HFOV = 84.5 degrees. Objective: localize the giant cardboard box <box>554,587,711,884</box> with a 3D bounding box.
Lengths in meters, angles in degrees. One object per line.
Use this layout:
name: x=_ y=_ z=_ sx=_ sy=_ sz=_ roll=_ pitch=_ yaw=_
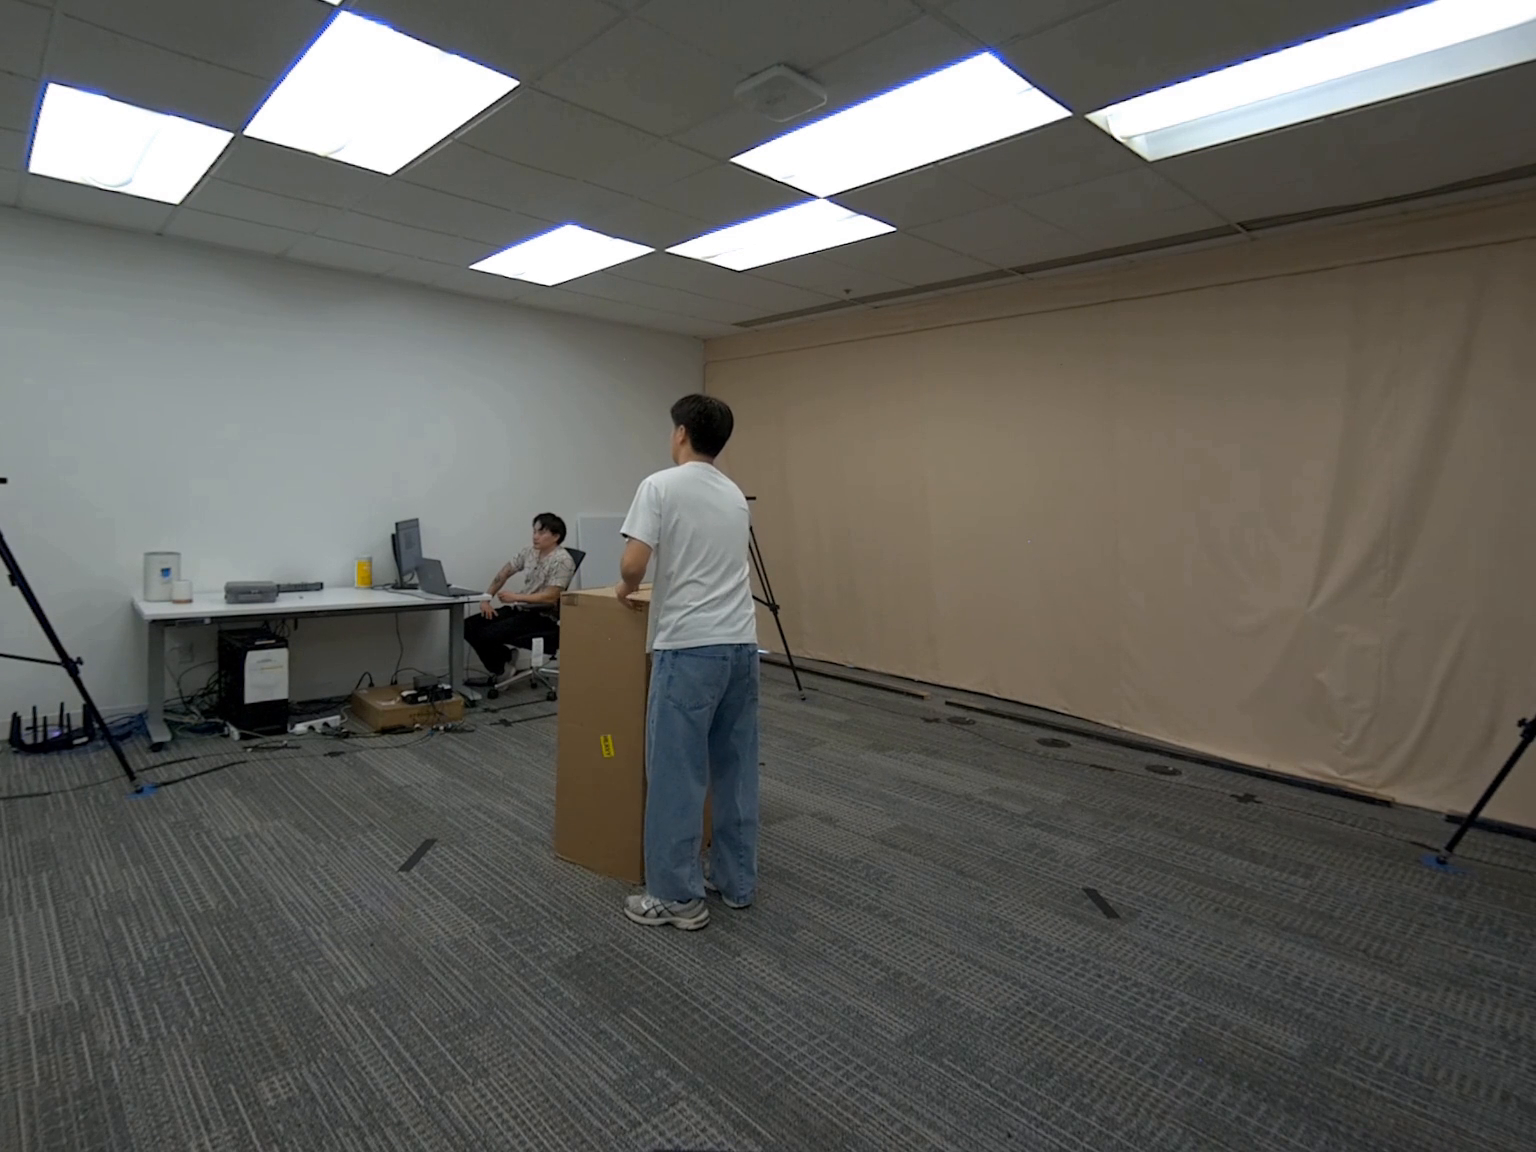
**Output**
giant cardboard box: x=-0.489 y=0.569 z=3.332 sx=0.436 sy=1.023 sz=0.566 roll=4 pitch=4 yaw=31
